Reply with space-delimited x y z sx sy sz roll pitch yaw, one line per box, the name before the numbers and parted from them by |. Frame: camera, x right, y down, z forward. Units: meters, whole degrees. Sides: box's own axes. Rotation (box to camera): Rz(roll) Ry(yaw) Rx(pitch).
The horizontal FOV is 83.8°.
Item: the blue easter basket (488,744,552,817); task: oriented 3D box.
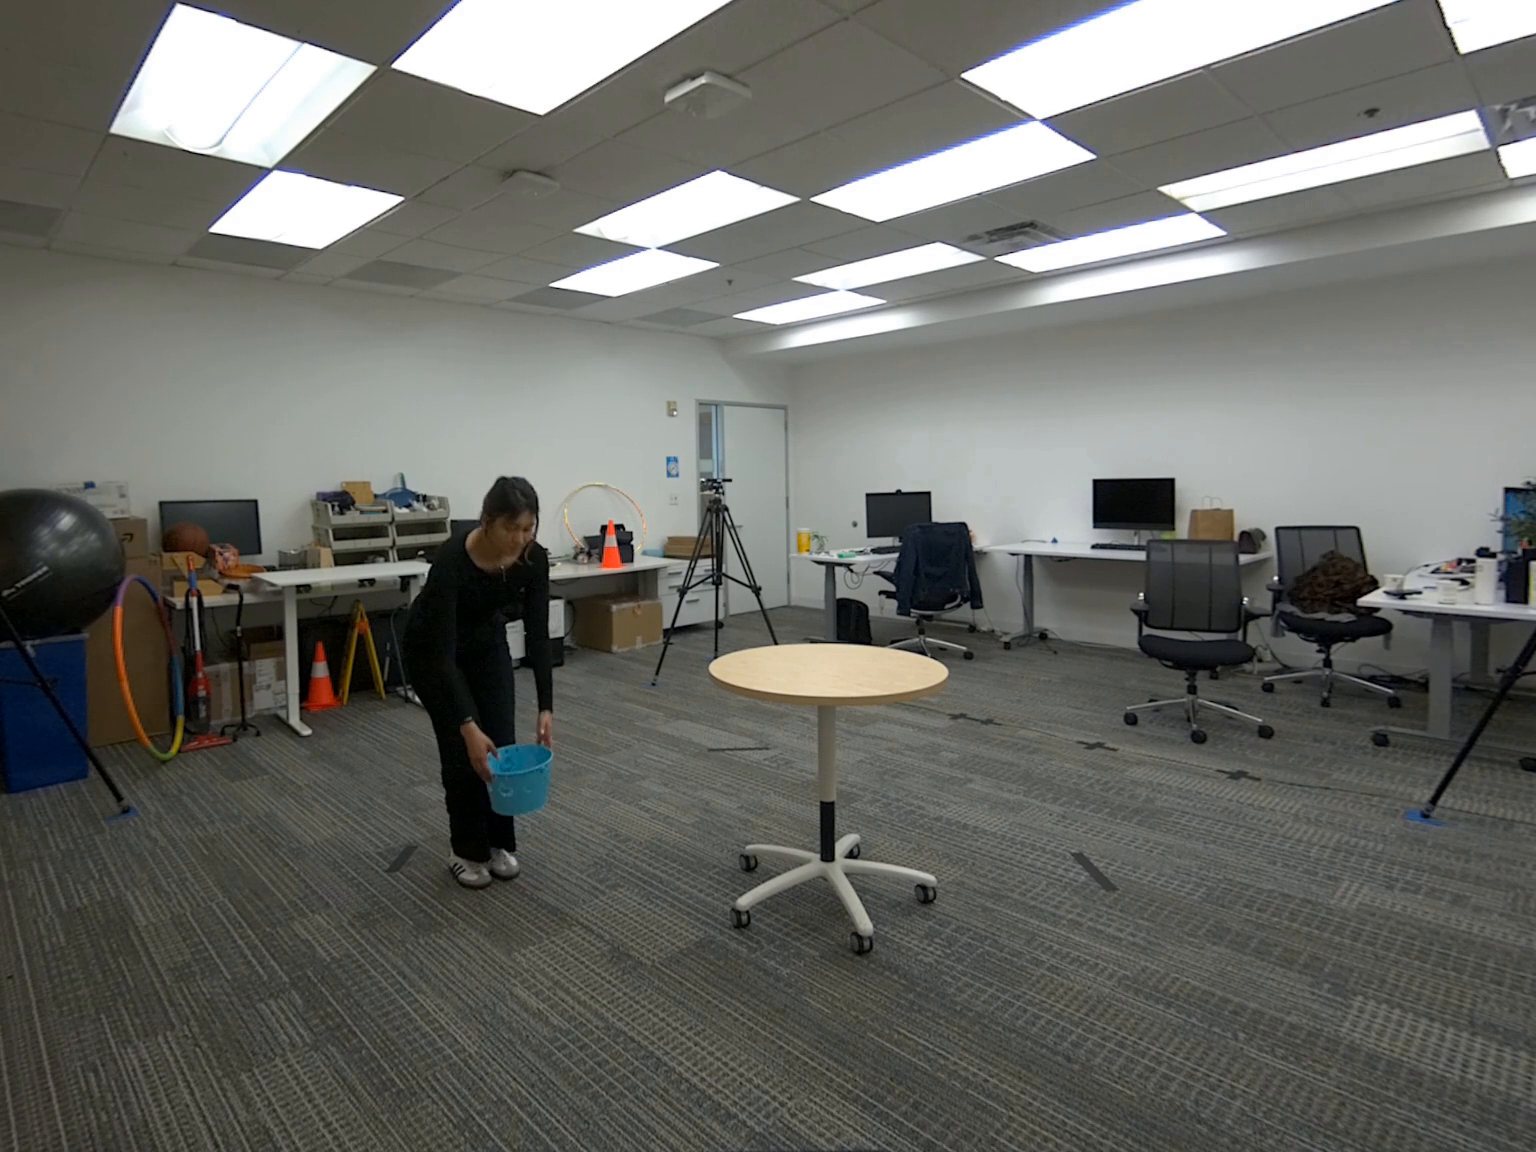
blue easter basket | -0.799 0.655 2.776 0.243 0.154 0.246 -3 10 -1
